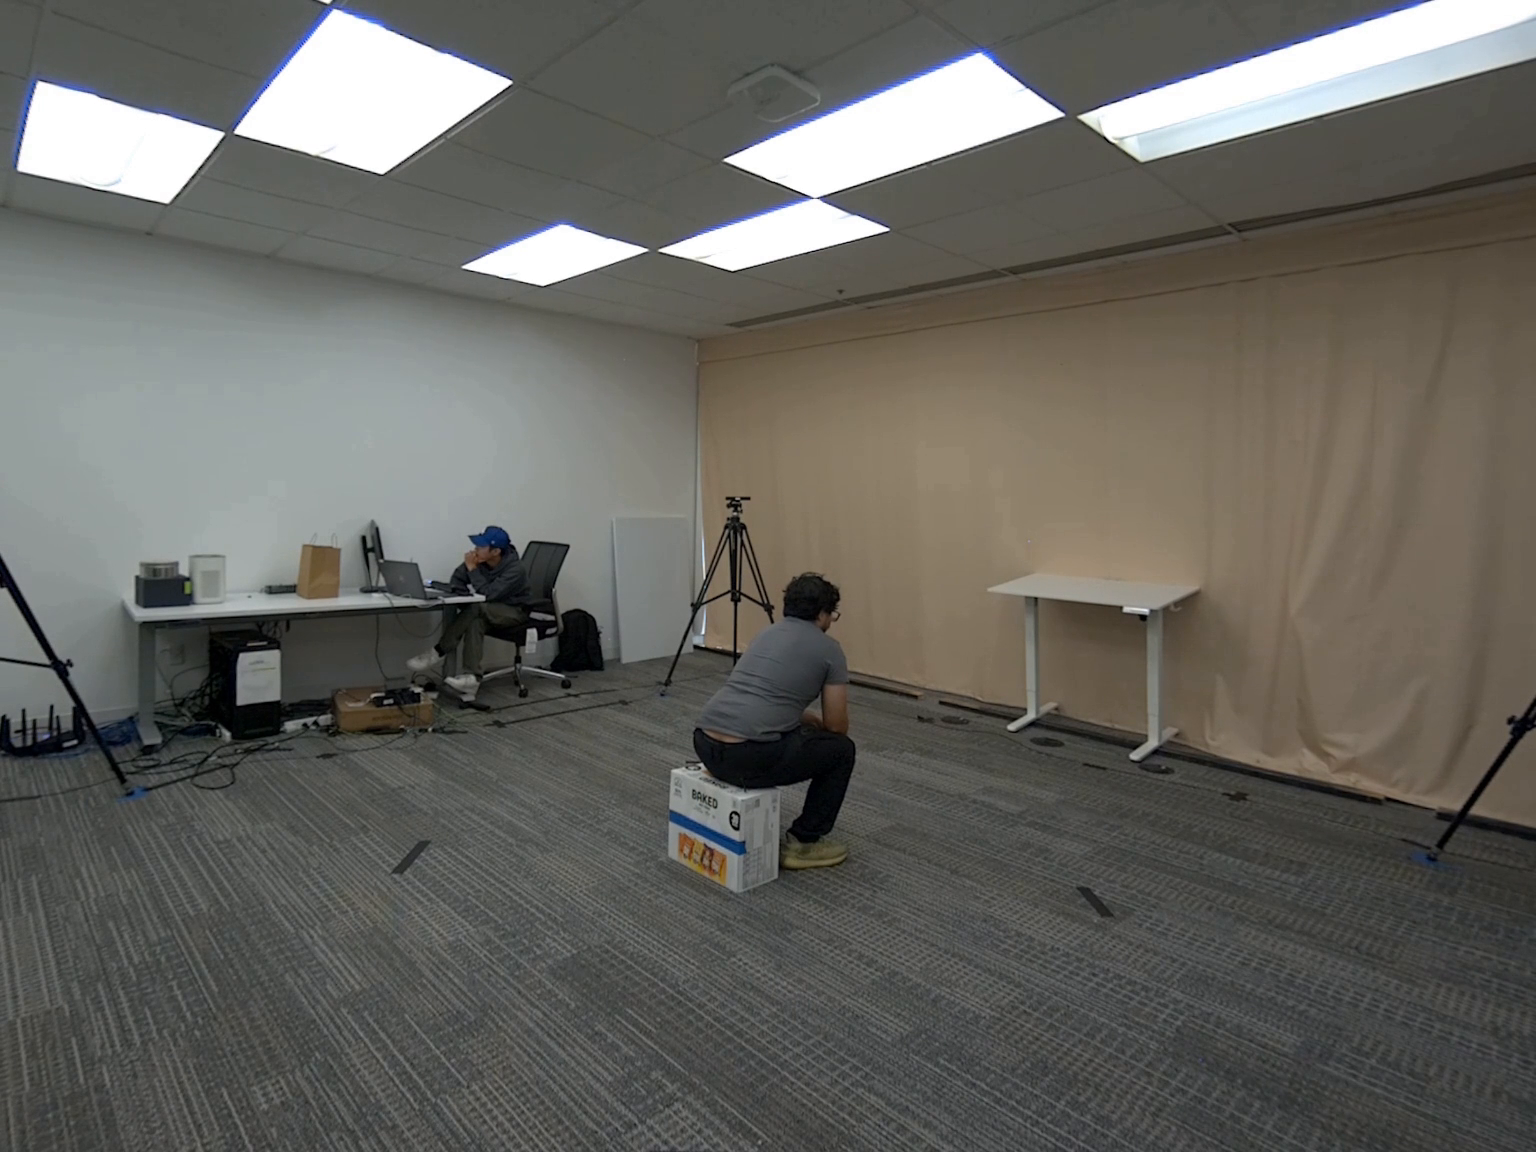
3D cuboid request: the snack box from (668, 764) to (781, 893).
[{"bbox_3d":[-0.178,0.934,3.165,0.201,0.339,0.416,-1,5,-44],"label":"snack box"}]
